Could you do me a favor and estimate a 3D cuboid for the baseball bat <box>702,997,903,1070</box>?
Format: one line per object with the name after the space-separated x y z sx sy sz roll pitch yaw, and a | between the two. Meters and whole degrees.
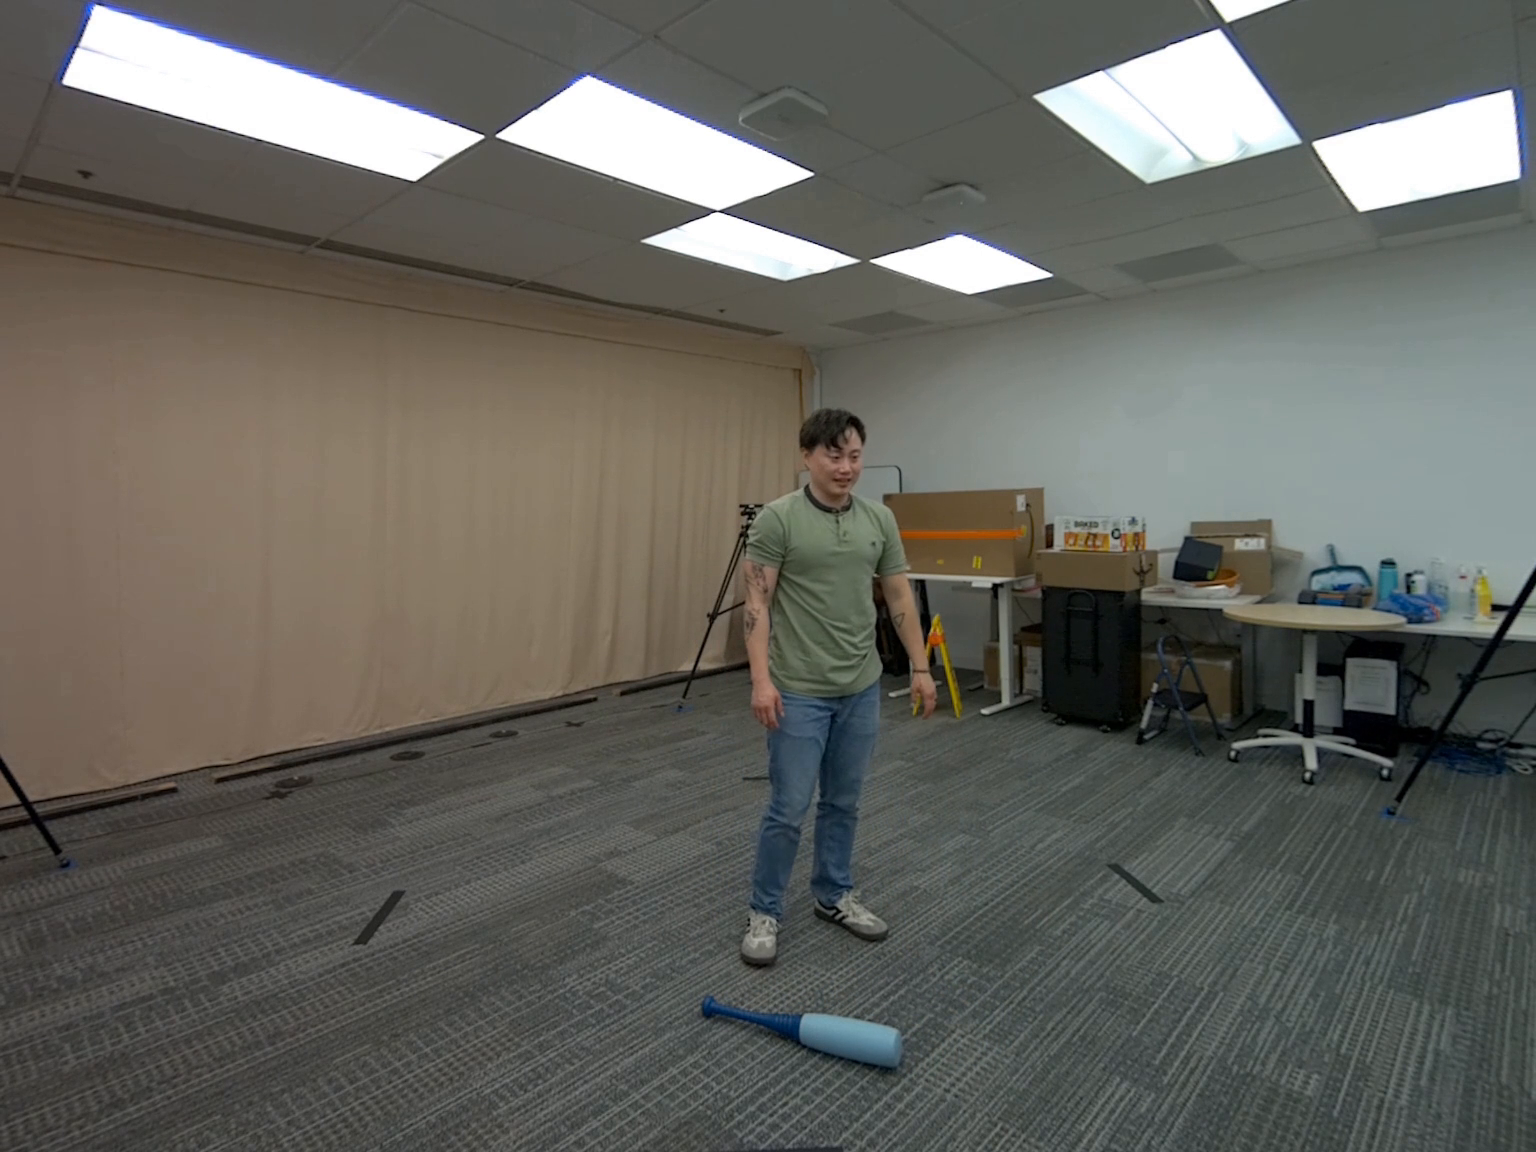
0.073 1.169 2.182 0.556 0.089 0.087 -3 3 24 | baseball bat
